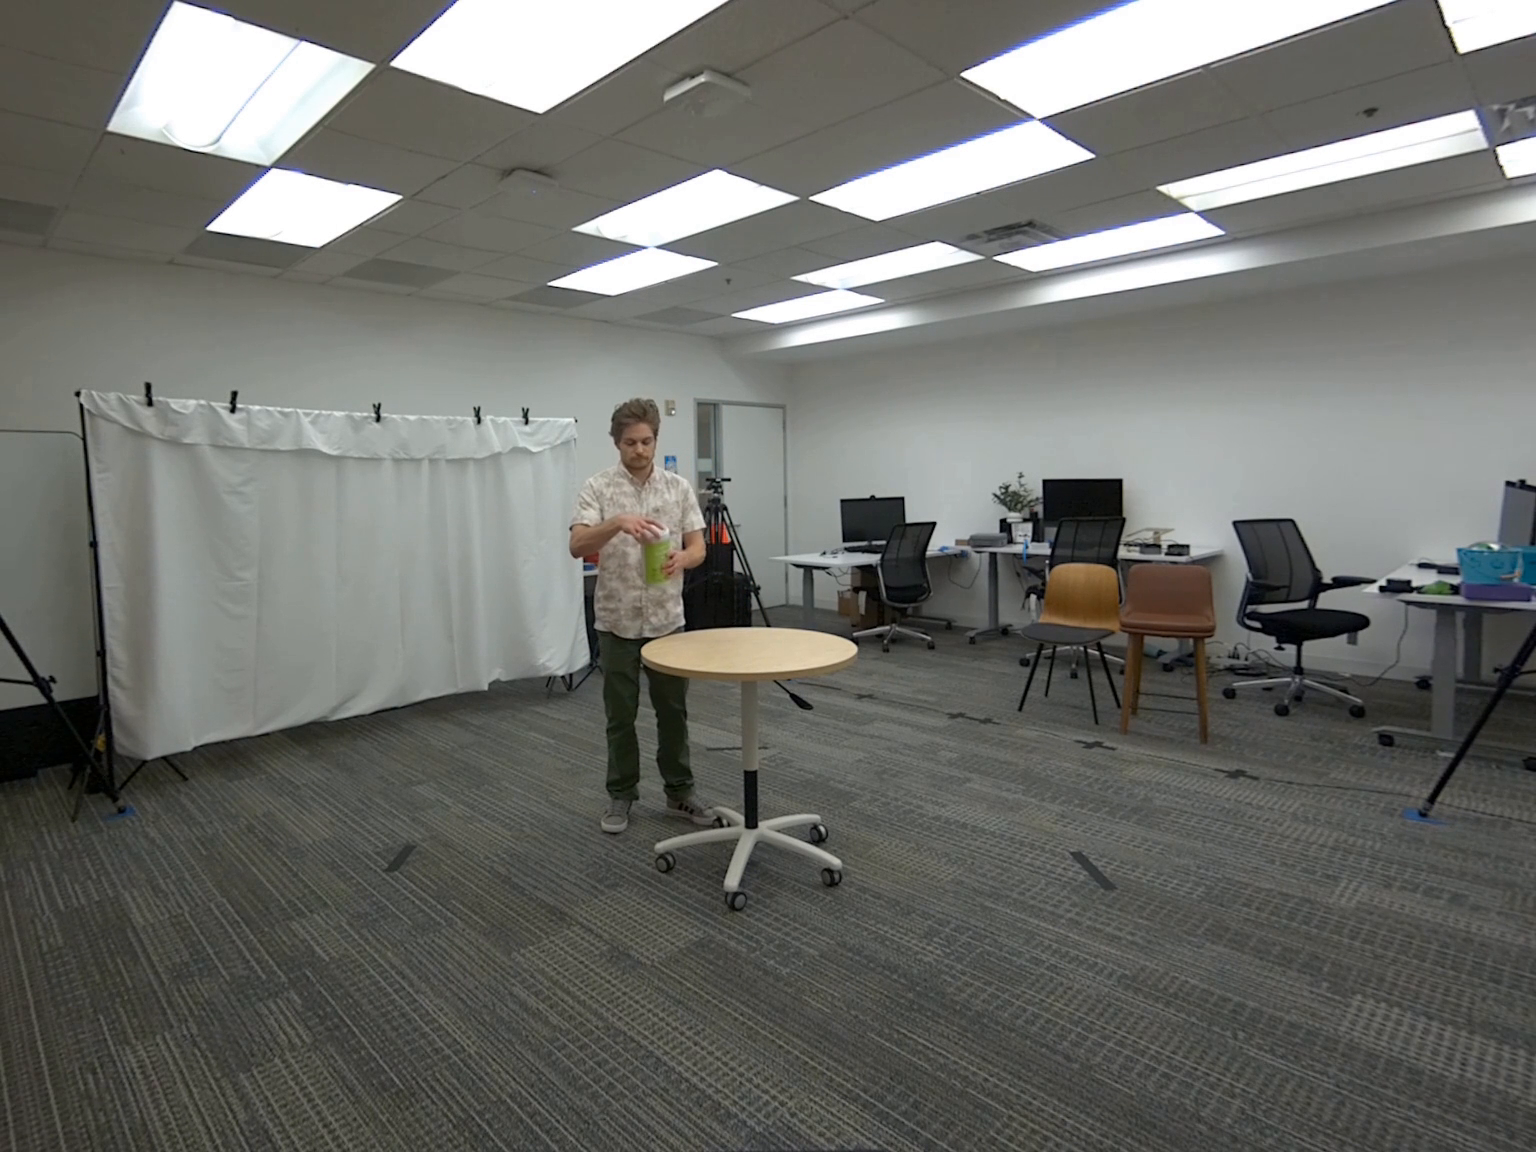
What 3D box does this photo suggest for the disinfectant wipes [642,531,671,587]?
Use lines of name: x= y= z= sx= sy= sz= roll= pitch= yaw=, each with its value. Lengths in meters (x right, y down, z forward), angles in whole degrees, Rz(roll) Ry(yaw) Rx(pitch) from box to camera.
disinfectant wipes: x=-0.425 y=-0.069 z=3.157 sx=0.118 sy=0.213 sz=0.120 roll=-3 pitch=24 yaw=0
